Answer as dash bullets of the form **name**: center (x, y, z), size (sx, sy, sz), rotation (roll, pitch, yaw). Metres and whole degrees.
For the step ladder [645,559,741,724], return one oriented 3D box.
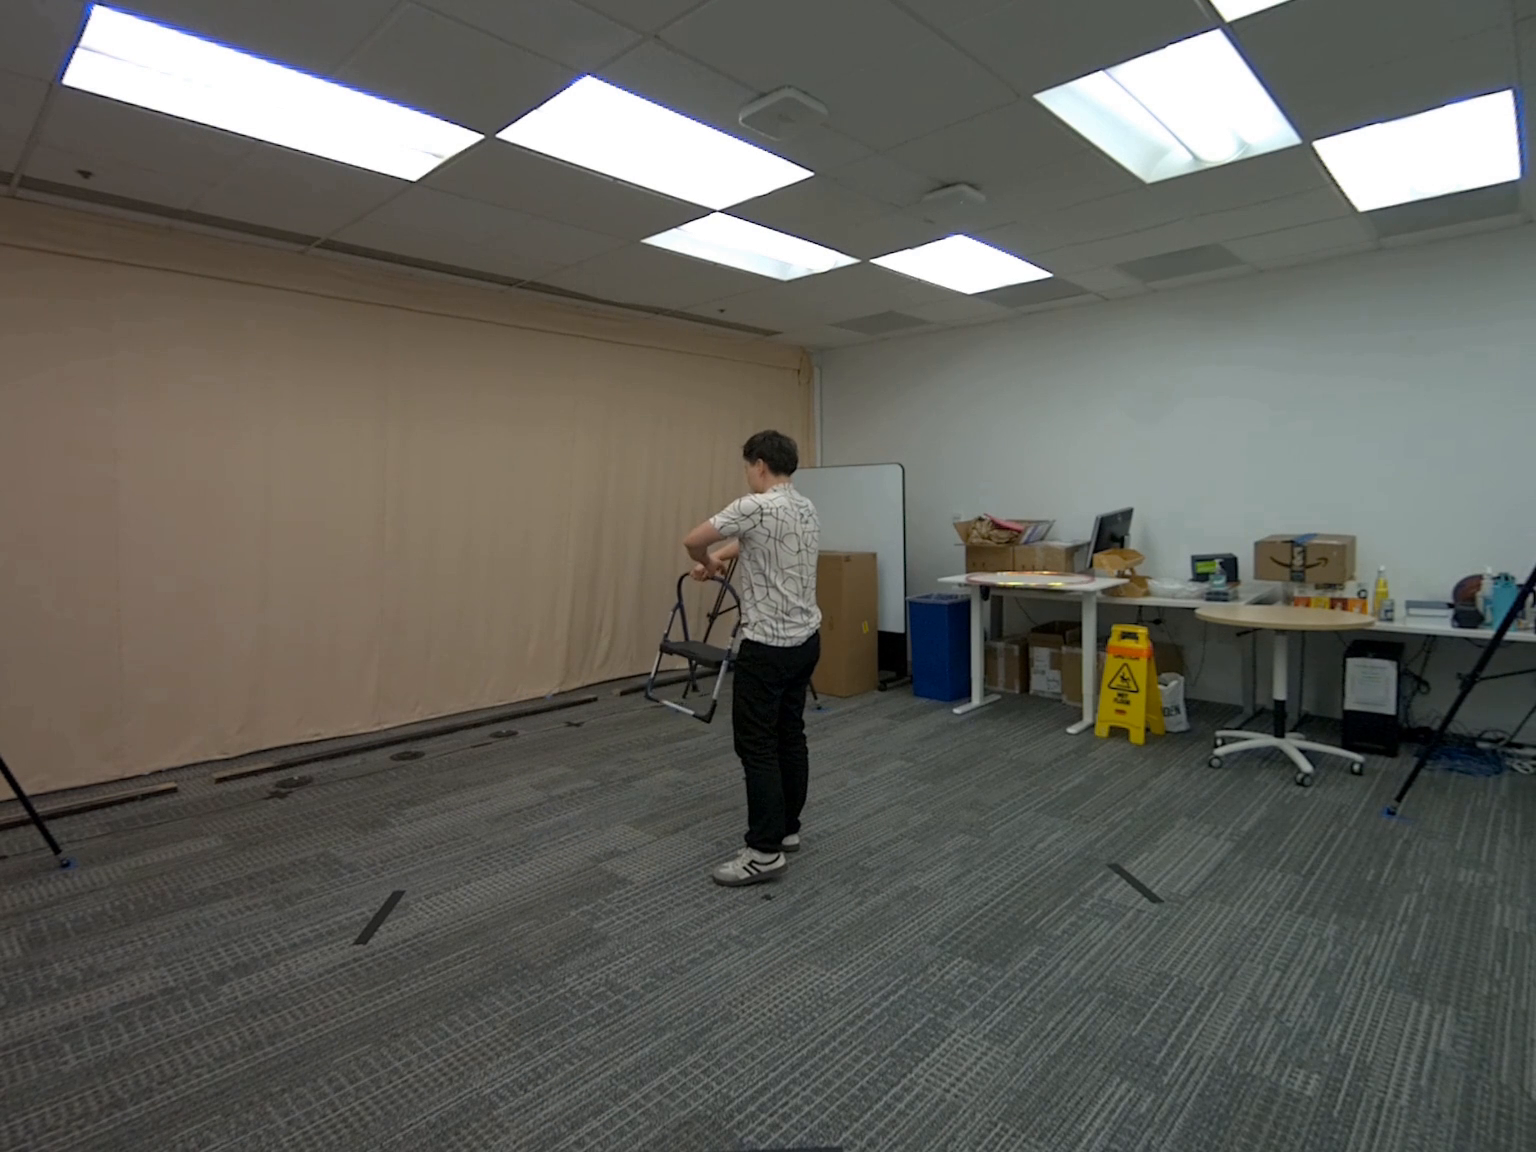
- **step ladder**: center (-0.265, 0.295, 3.765), size (0.446, 0.605, 0.338), rotation (11, 5, 40)
